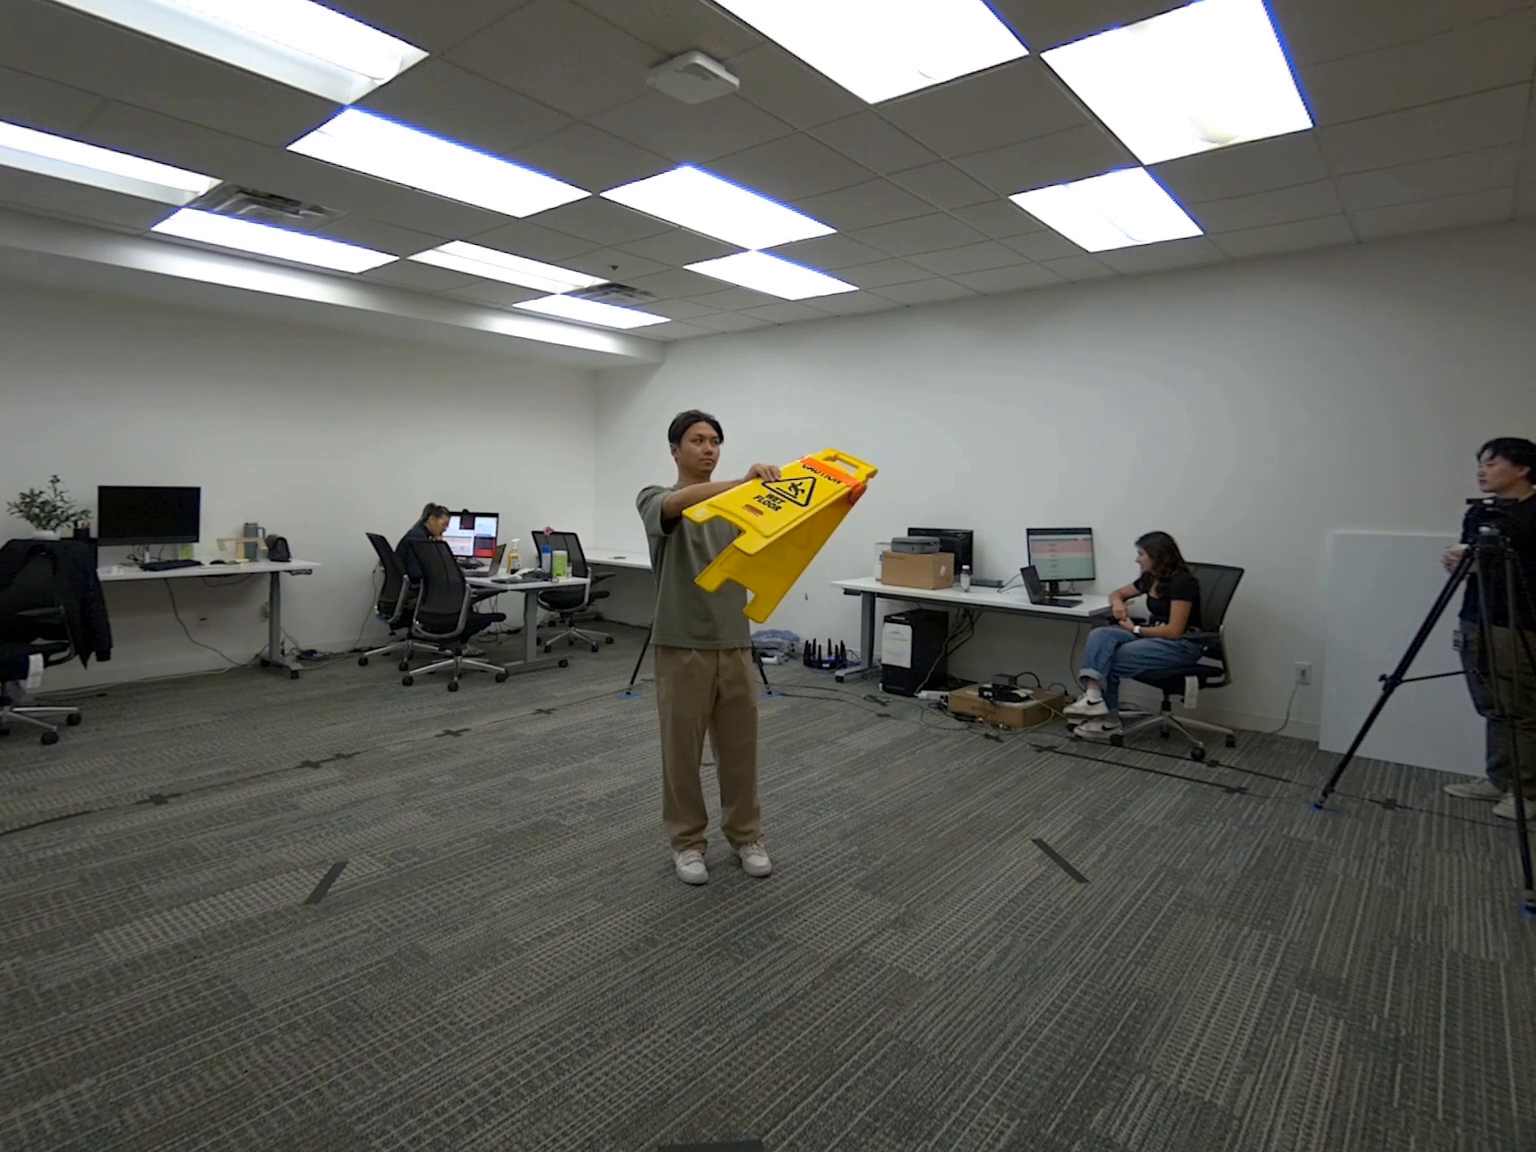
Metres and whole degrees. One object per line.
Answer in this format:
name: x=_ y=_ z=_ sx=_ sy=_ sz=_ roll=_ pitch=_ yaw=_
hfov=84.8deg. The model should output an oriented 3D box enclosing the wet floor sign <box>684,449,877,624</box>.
wet floor sign: x=0.067 y=-0.201 z=2.633 sx=0.293 sy=0.280 sz=0.642 roll=30 pitch=55 yaw=31
